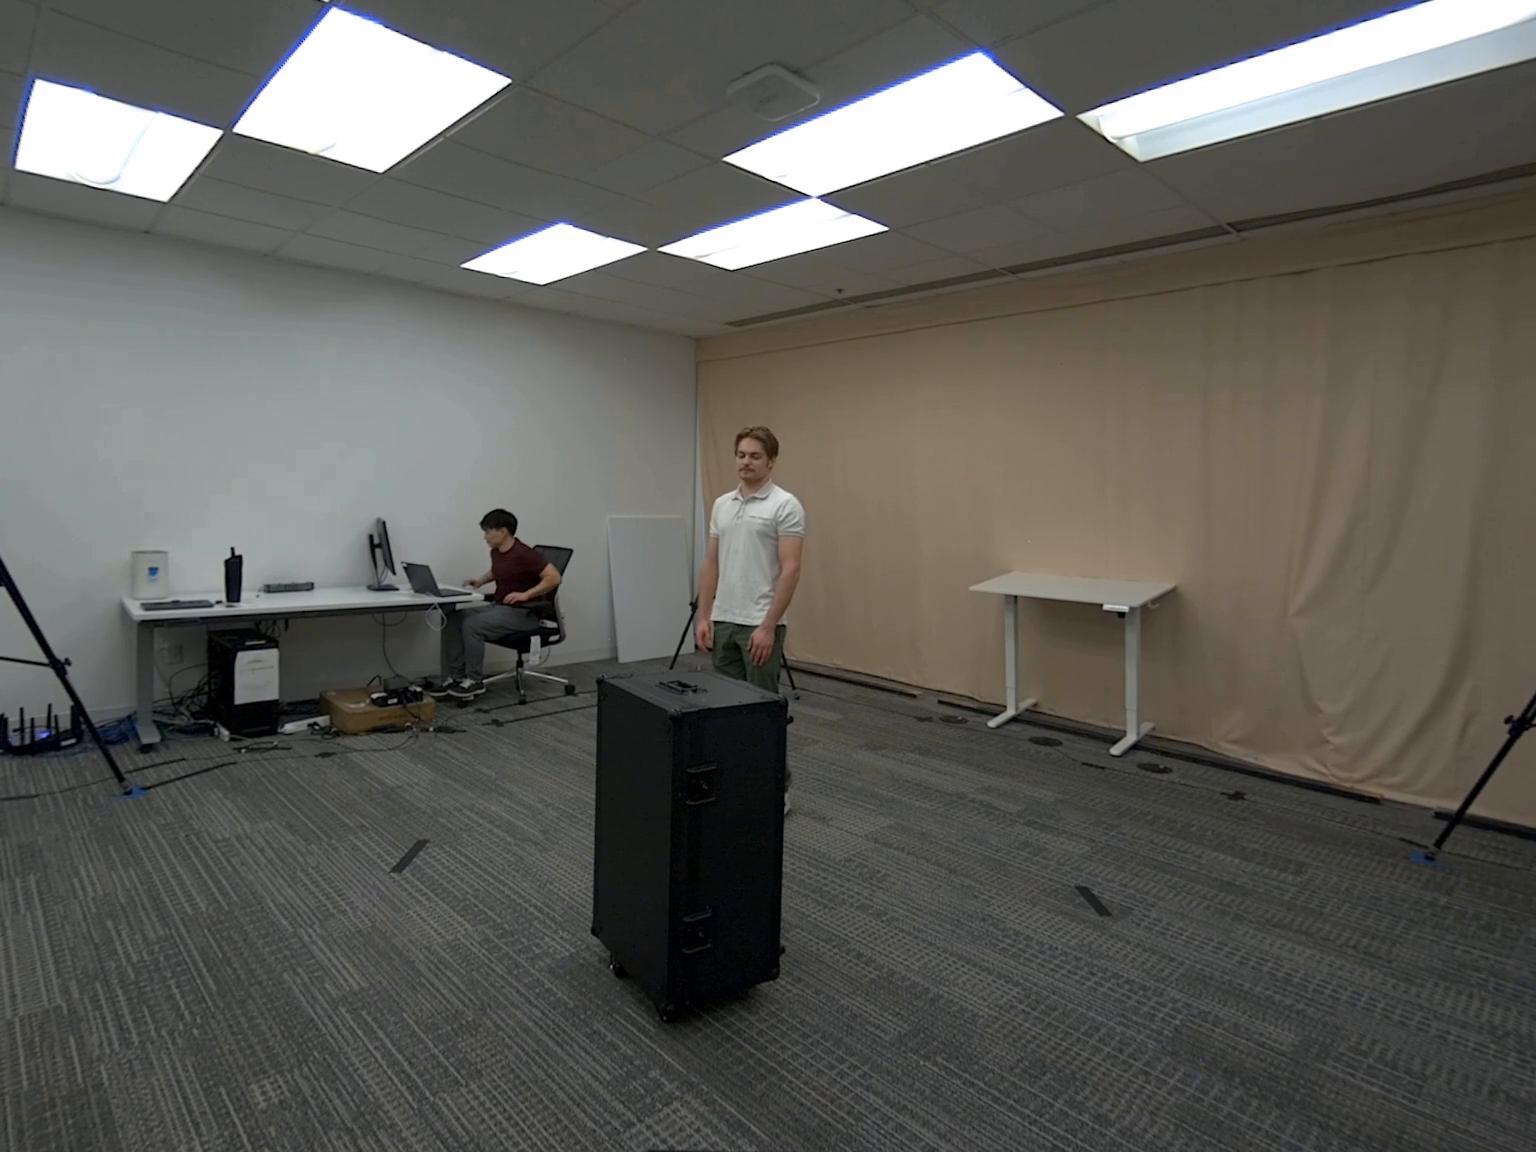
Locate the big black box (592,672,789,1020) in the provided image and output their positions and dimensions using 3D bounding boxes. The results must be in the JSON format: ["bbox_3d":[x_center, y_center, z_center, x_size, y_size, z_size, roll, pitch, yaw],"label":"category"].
[{"bbox_3d":[-0.246,0.744,2.413,0.377,0.867,0.536,0,4,-34],"label":"big black box"}]
